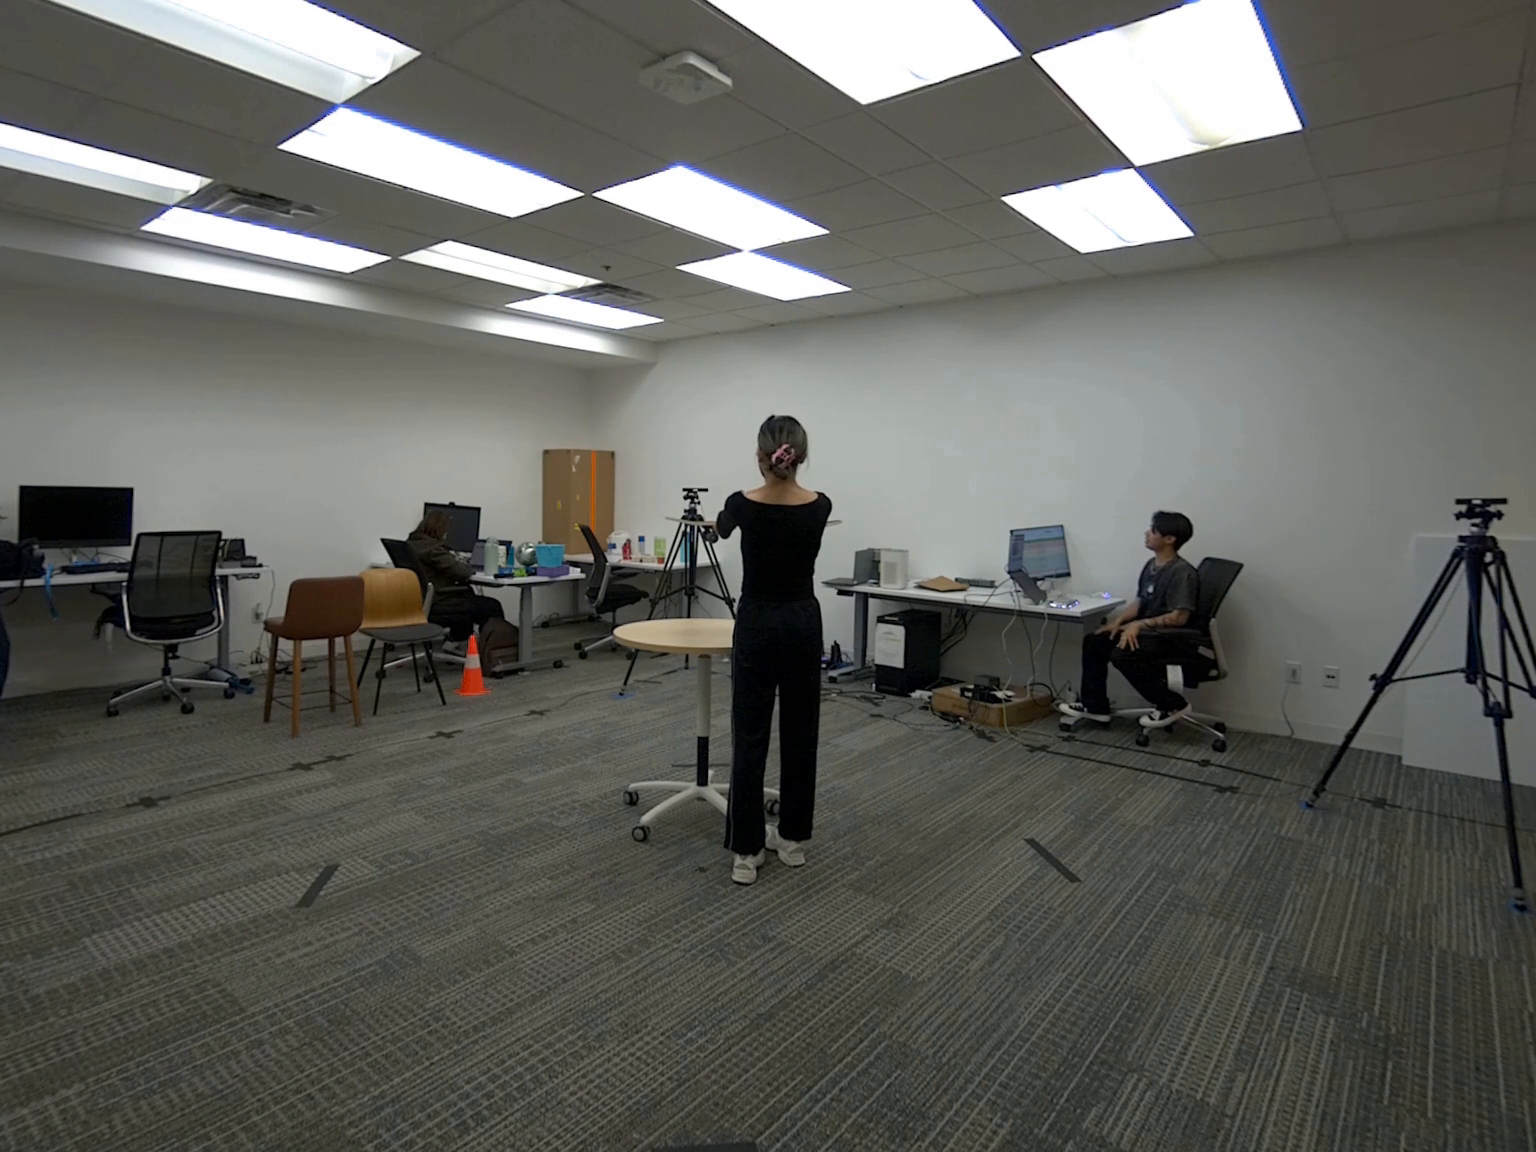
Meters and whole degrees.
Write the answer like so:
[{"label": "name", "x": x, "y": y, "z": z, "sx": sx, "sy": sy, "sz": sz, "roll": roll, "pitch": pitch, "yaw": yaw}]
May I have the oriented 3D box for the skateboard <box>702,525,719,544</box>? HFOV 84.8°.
[{"label": "skateboard", "x": -0.051, "y": -0.202, "z": 3.723, "sx": 0.776, "sy": 0.110, "sz": 0.196, "roll": 0, "pitch": 4, "yaw": -12}]
